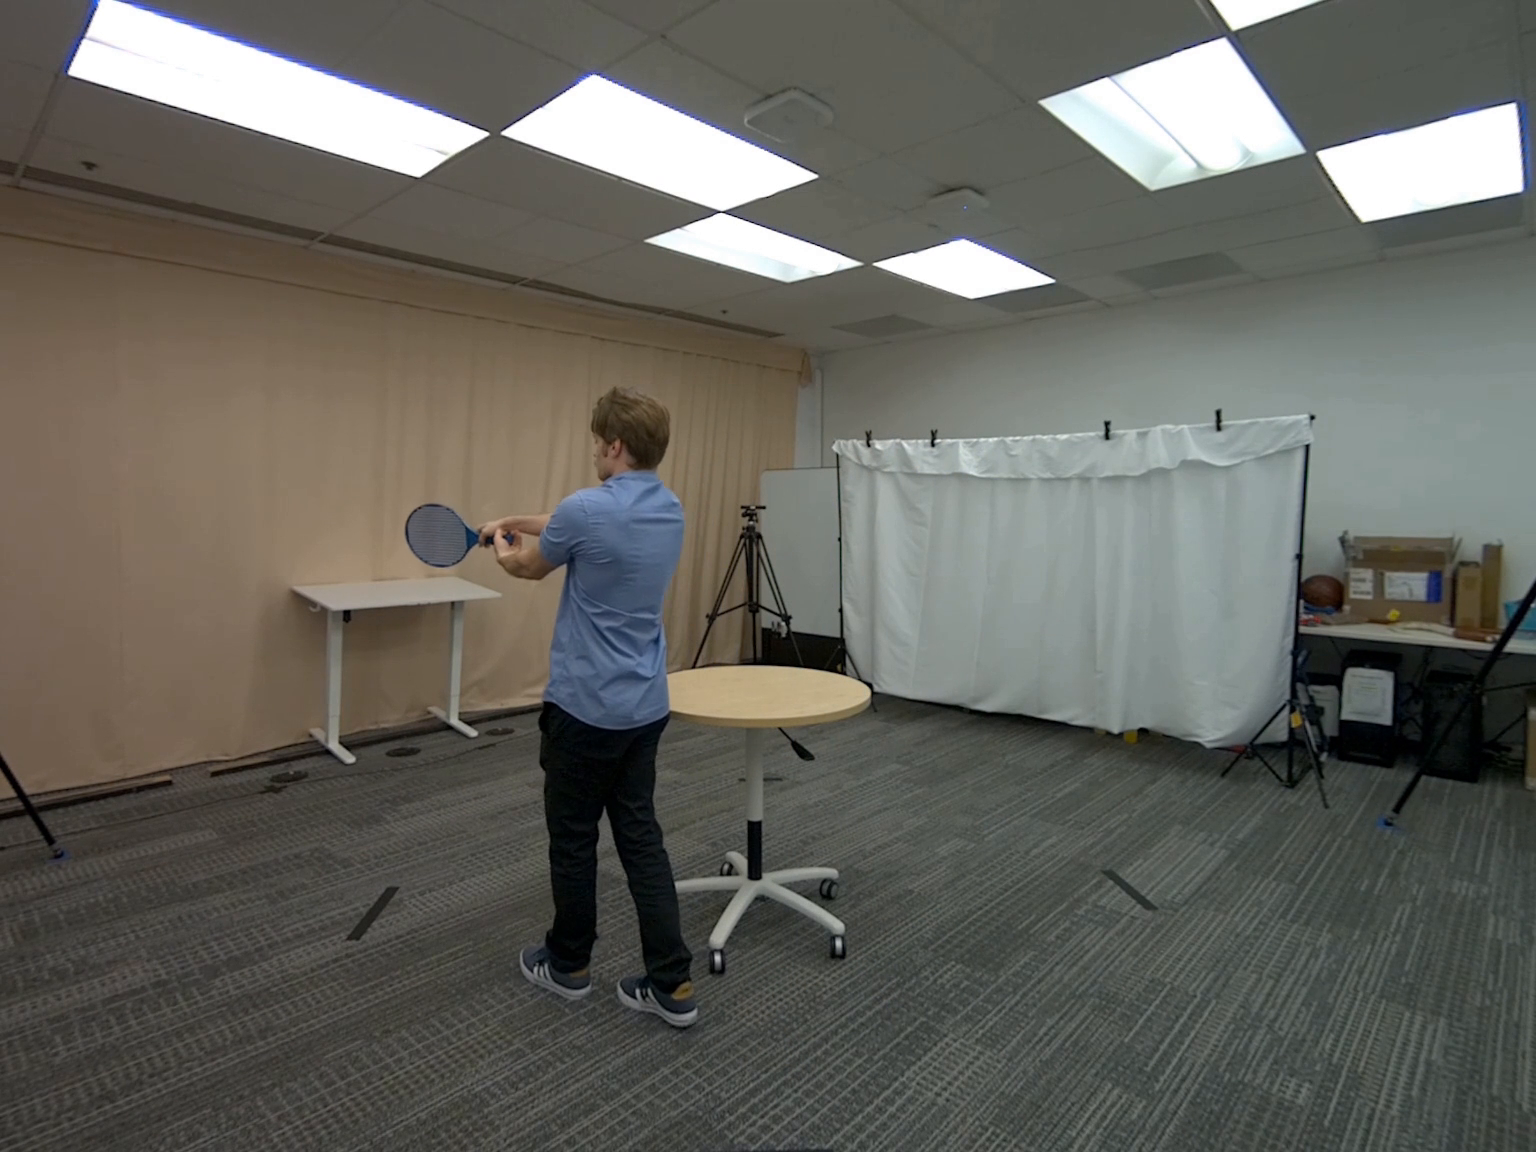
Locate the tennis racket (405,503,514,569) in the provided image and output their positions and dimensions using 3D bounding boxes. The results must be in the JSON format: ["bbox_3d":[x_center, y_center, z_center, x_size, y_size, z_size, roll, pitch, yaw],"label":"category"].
[{"bbox_3d":[-1.012,-0.134,2.734,0.442,0.212,0.031,3,9,21],"label":"tennis racket"}]
